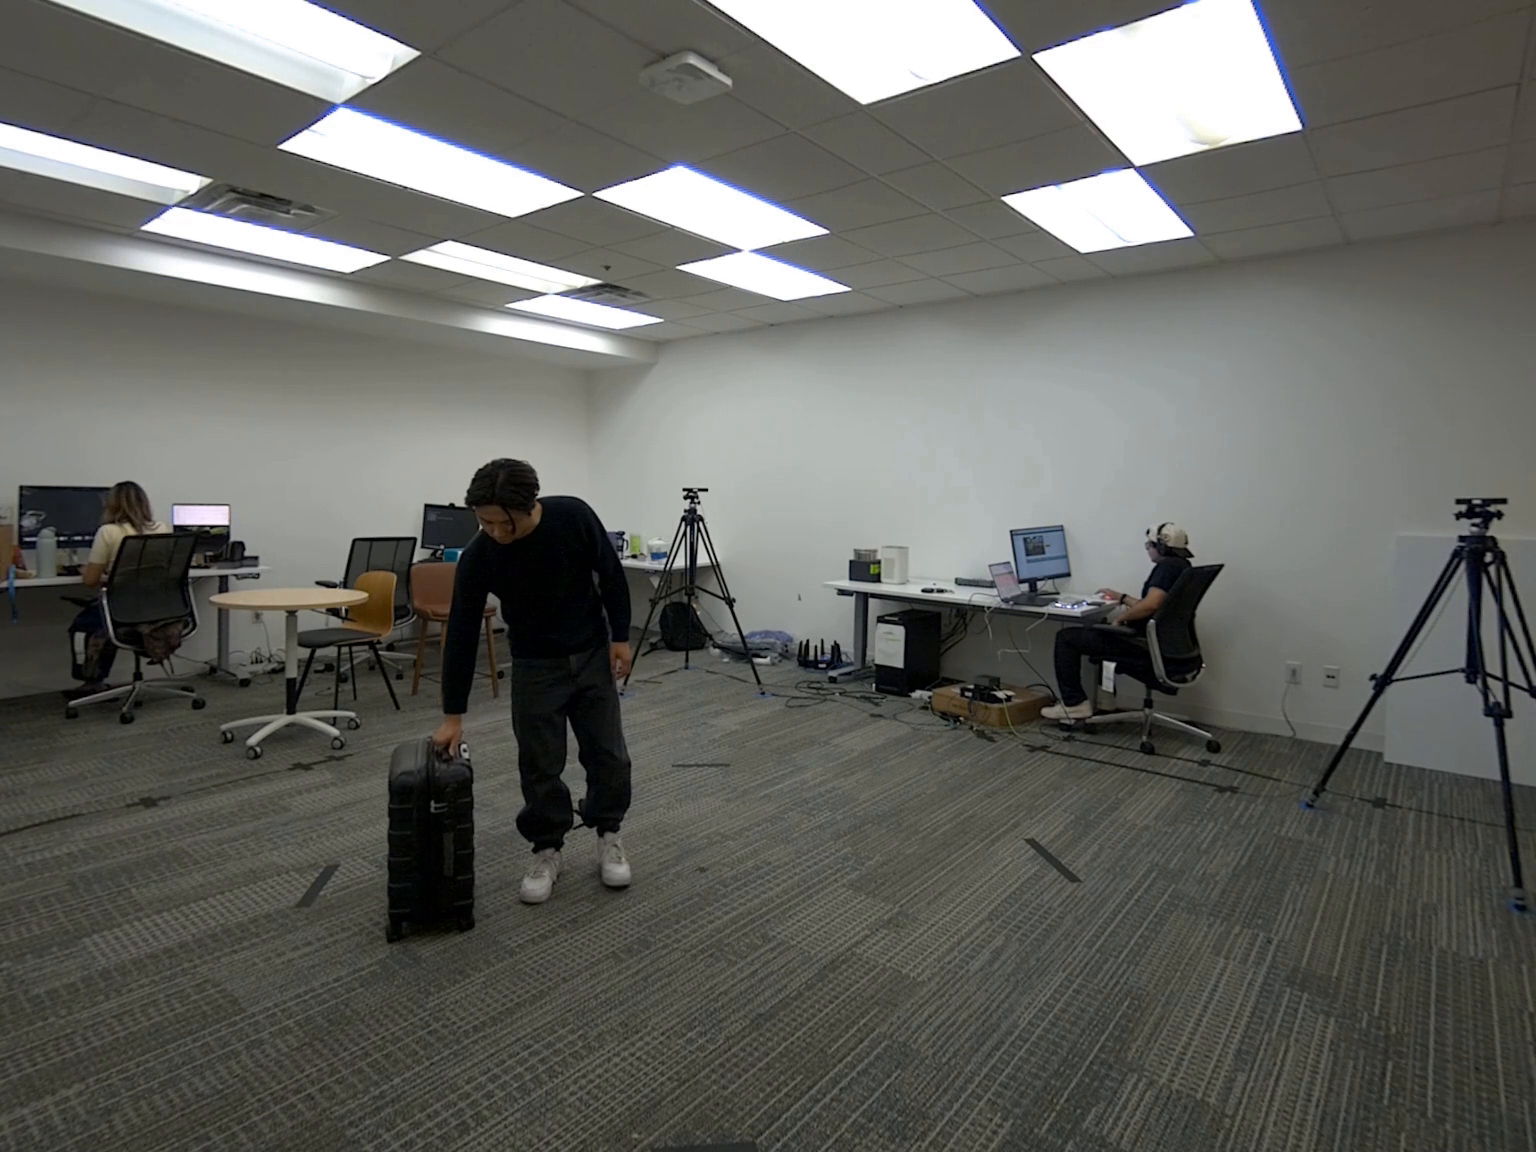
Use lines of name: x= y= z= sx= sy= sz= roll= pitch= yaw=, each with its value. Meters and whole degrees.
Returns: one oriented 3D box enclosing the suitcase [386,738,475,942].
suitcase: x=-1.085 y=0.816 z=2.729 sx=0.243 sy=0.547 sz=0.384 roll=1 pitch=5 yaw=-20
